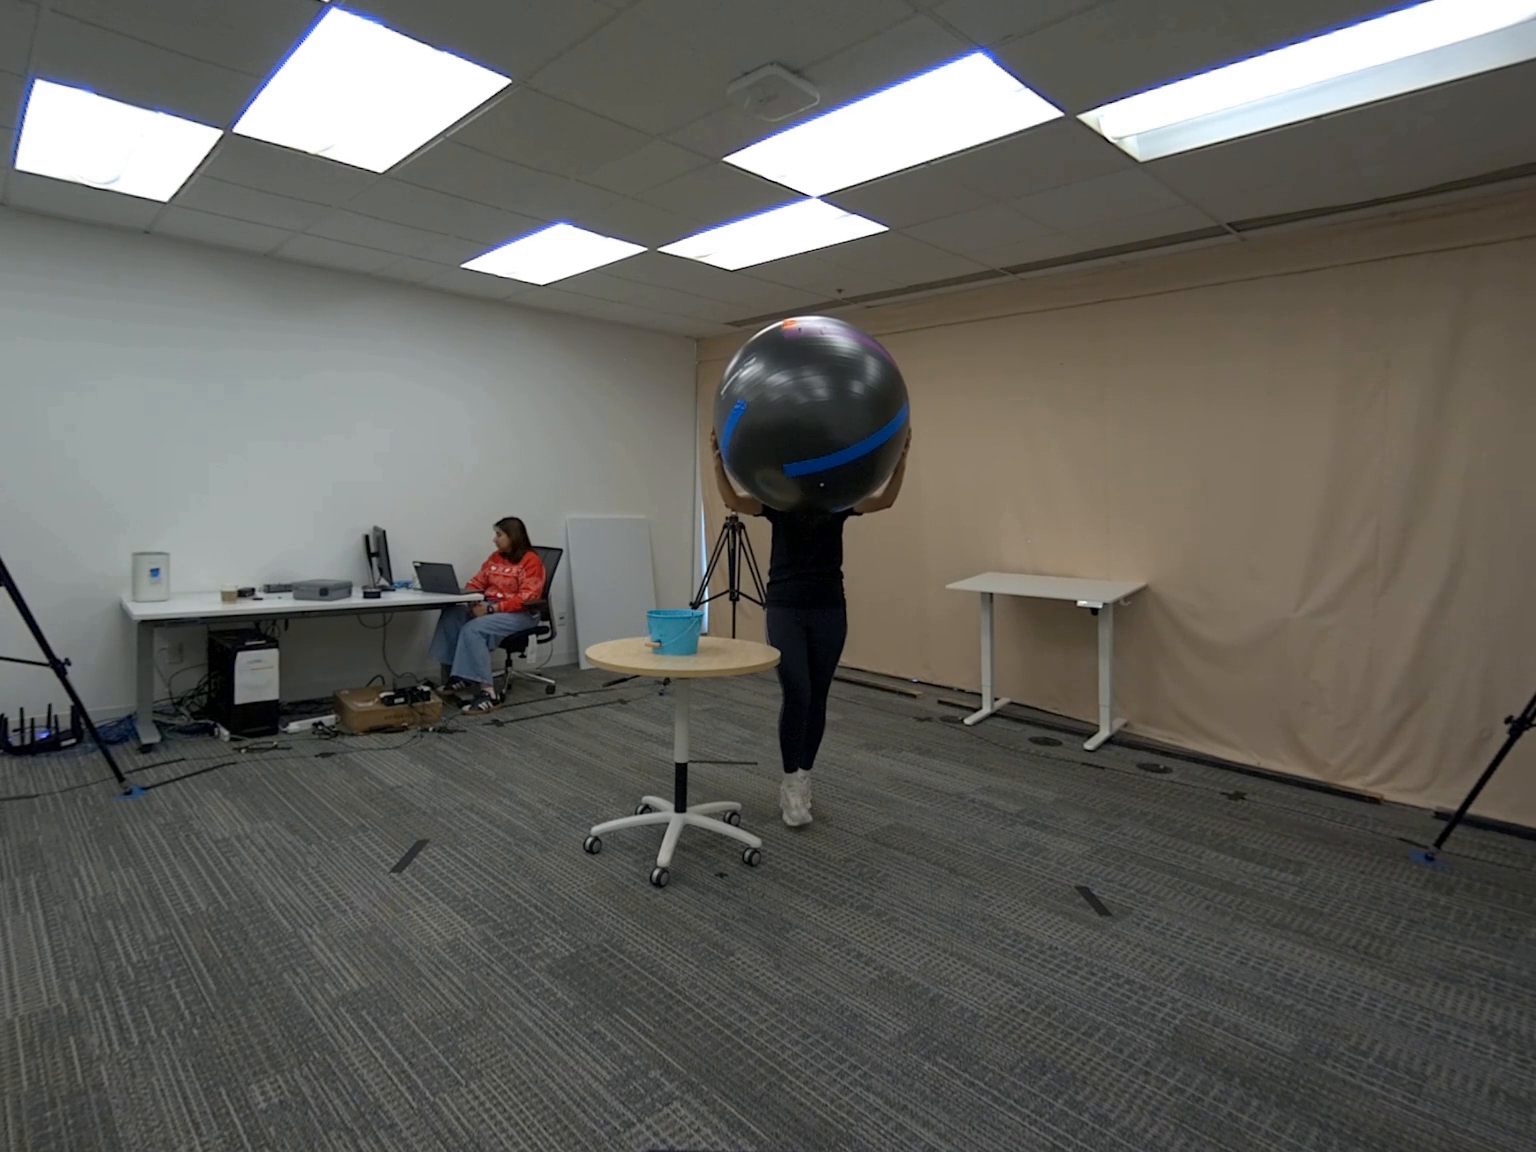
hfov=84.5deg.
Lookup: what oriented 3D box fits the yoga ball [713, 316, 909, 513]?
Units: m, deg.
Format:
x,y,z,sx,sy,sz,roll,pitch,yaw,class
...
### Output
x,y,z,sx,sy,sz,roll,pitch,yaw,class
0.159,-0.607,3.248,0.757,0.756,0.761,1,4,-1,yoga ball
